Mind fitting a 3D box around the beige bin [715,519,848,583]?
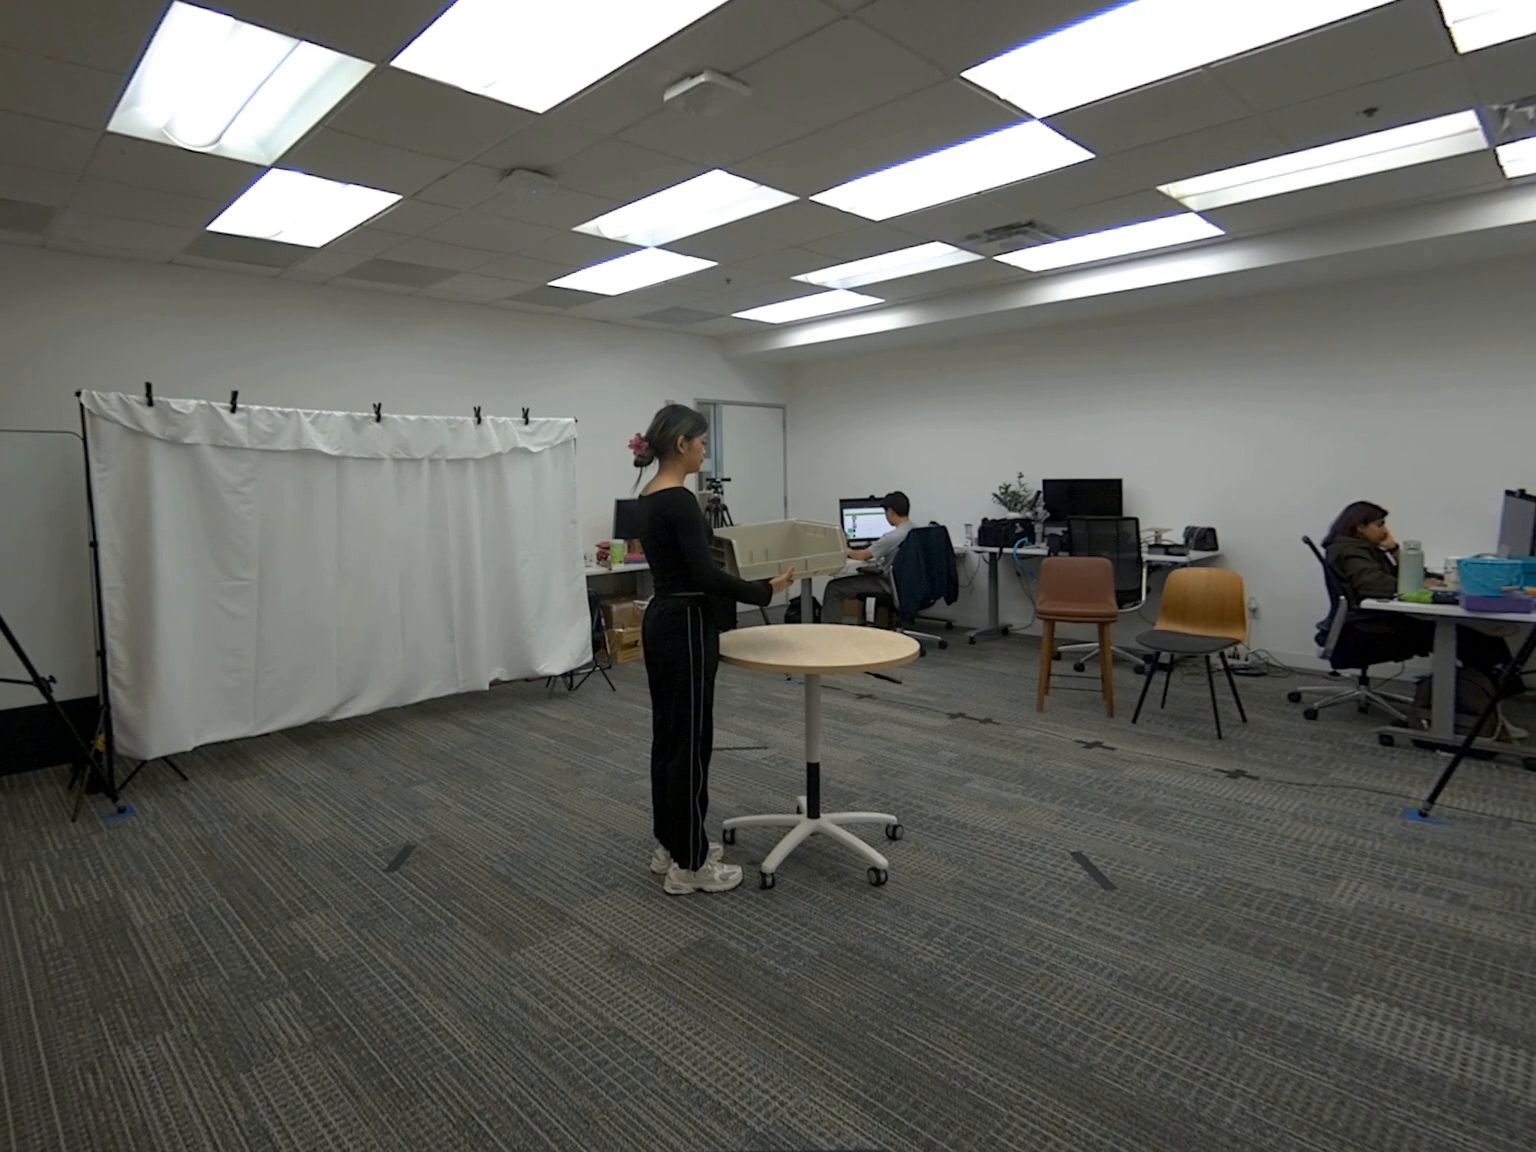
[{"bbox_3d":[0.013,-0.082,3.080,0.415,0.187,0.387,-9,9,-23],"label":"beige bin"}]
